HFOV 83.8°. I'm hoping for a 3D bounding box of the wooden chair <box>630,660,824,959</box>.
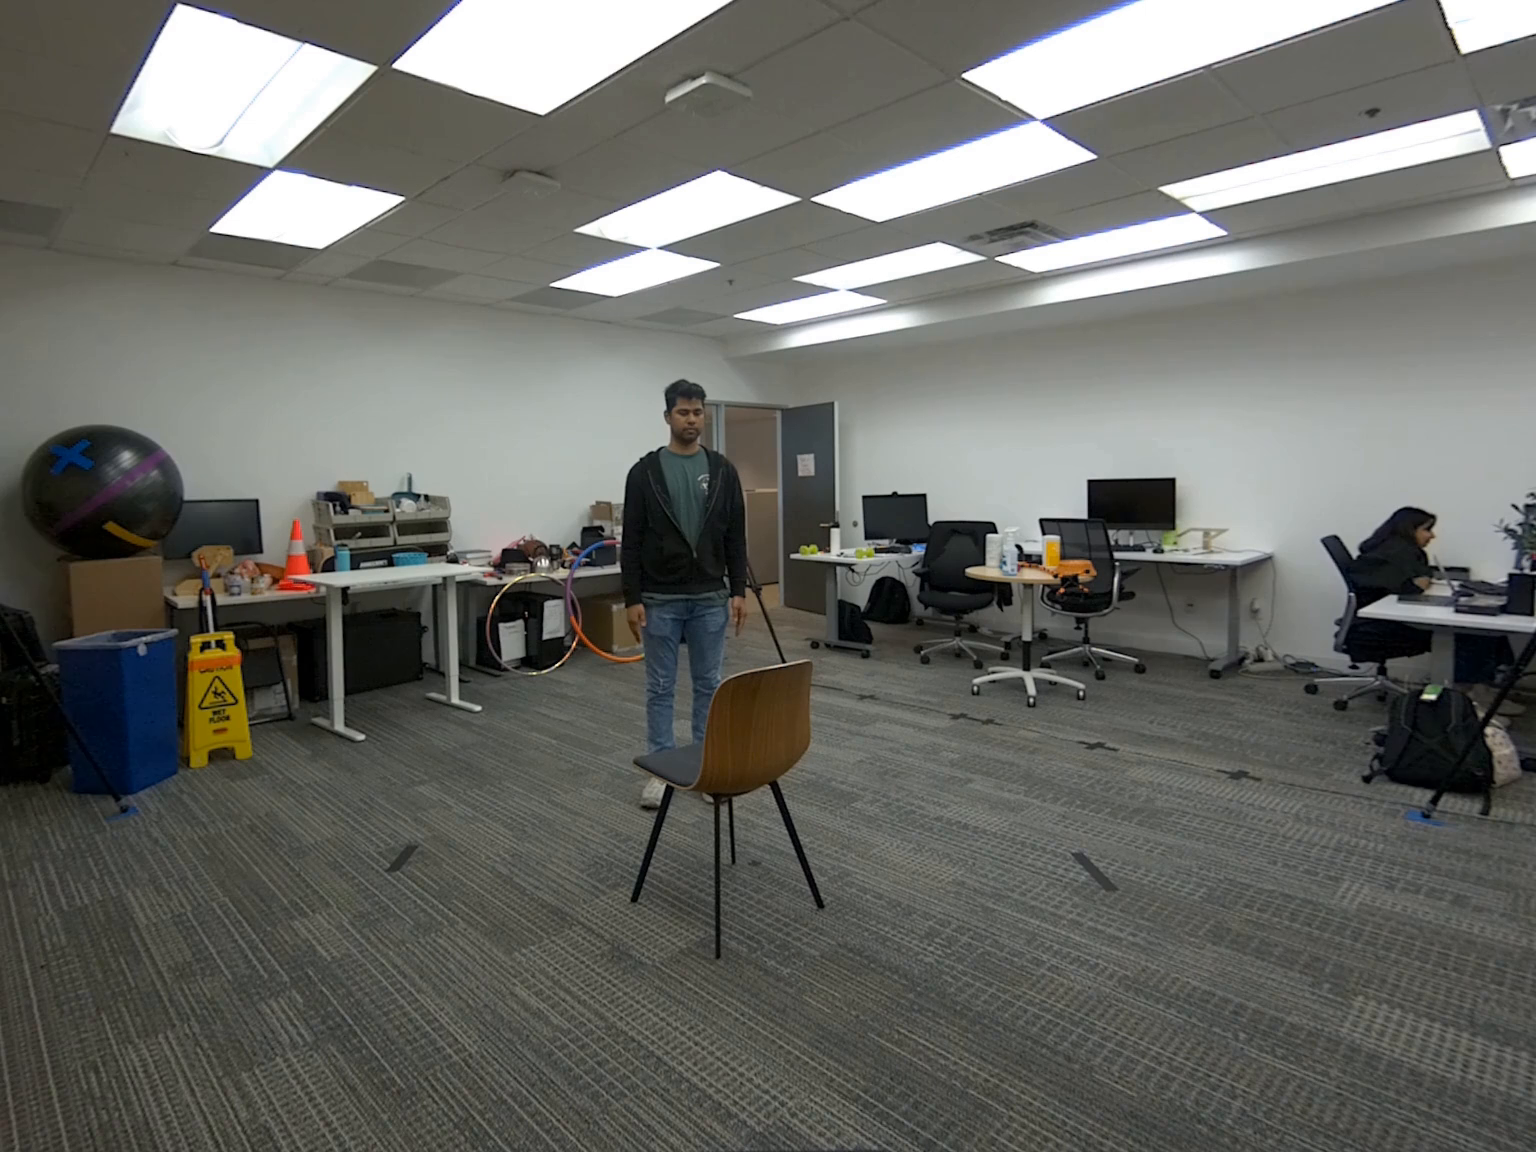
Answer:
[{"bbox_3d":[-0.141,0.654,2.786,0.466,0.871,0.541,-5,11,-41],"label":"wooden chair"}]
